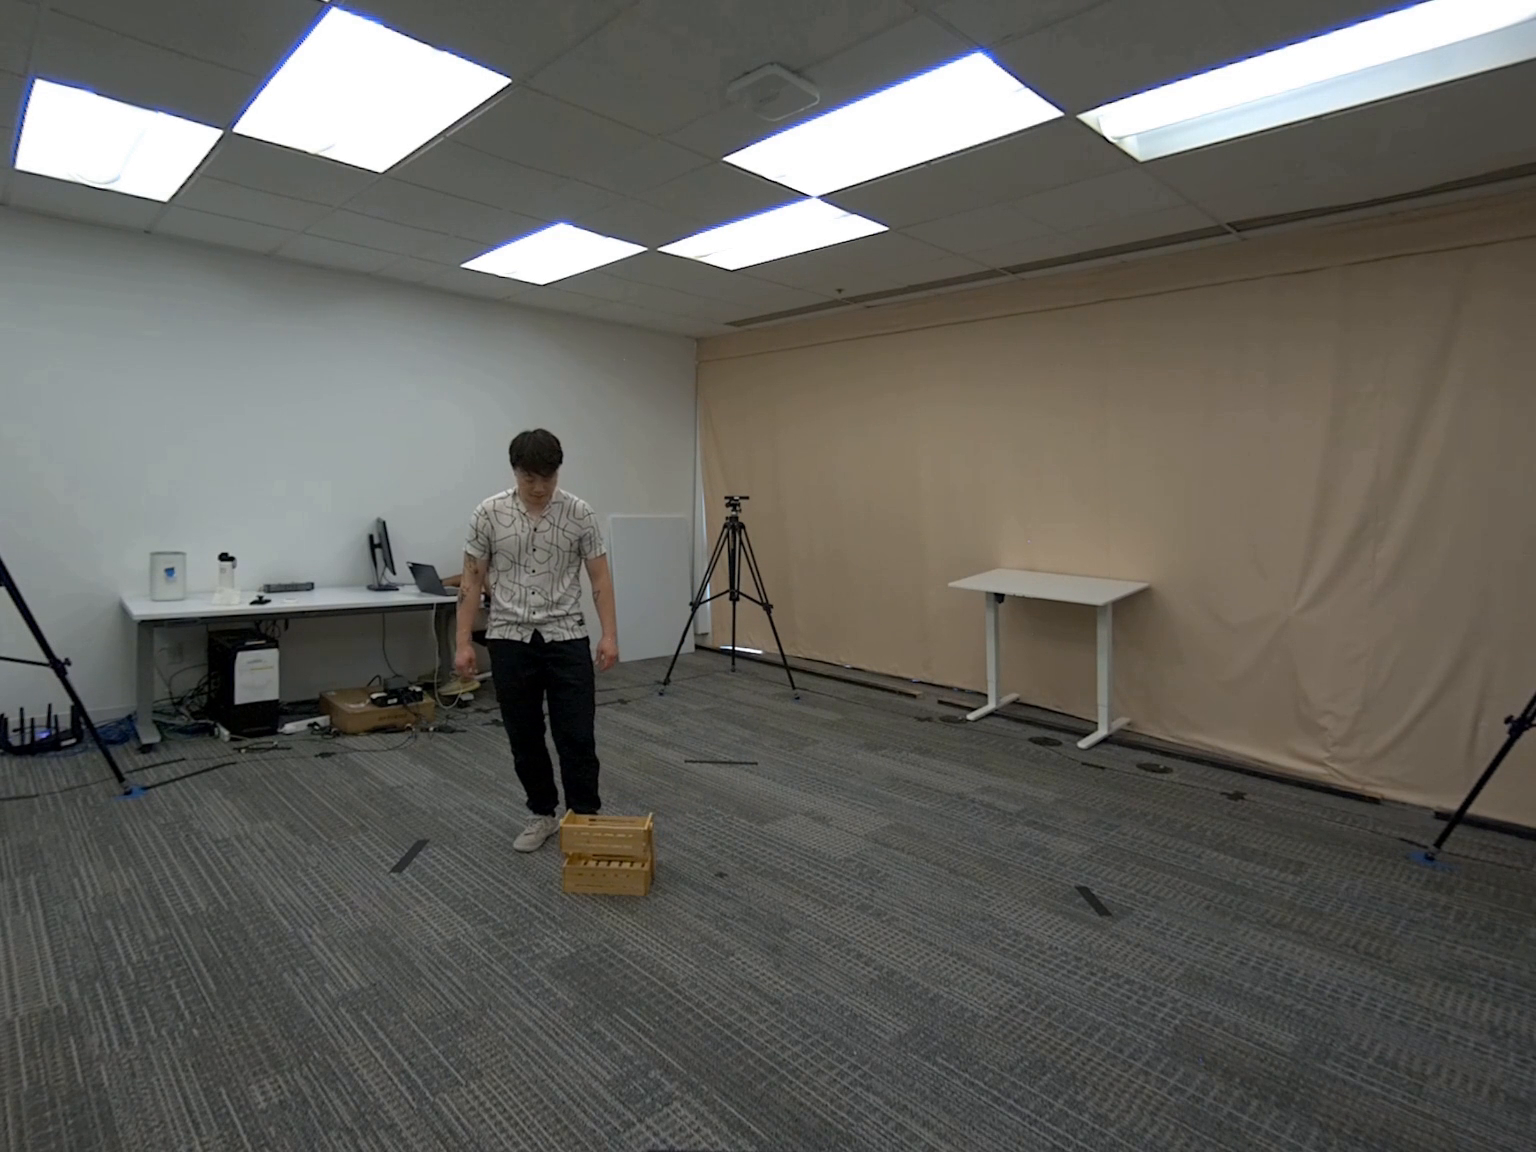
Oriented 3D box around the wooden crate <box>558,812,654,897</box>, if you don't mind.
[{"bbox_3d":[-0.577,0.970,3.028,0.324,0.272,0.303,1,4,0],"label":"wooden crate"}]
